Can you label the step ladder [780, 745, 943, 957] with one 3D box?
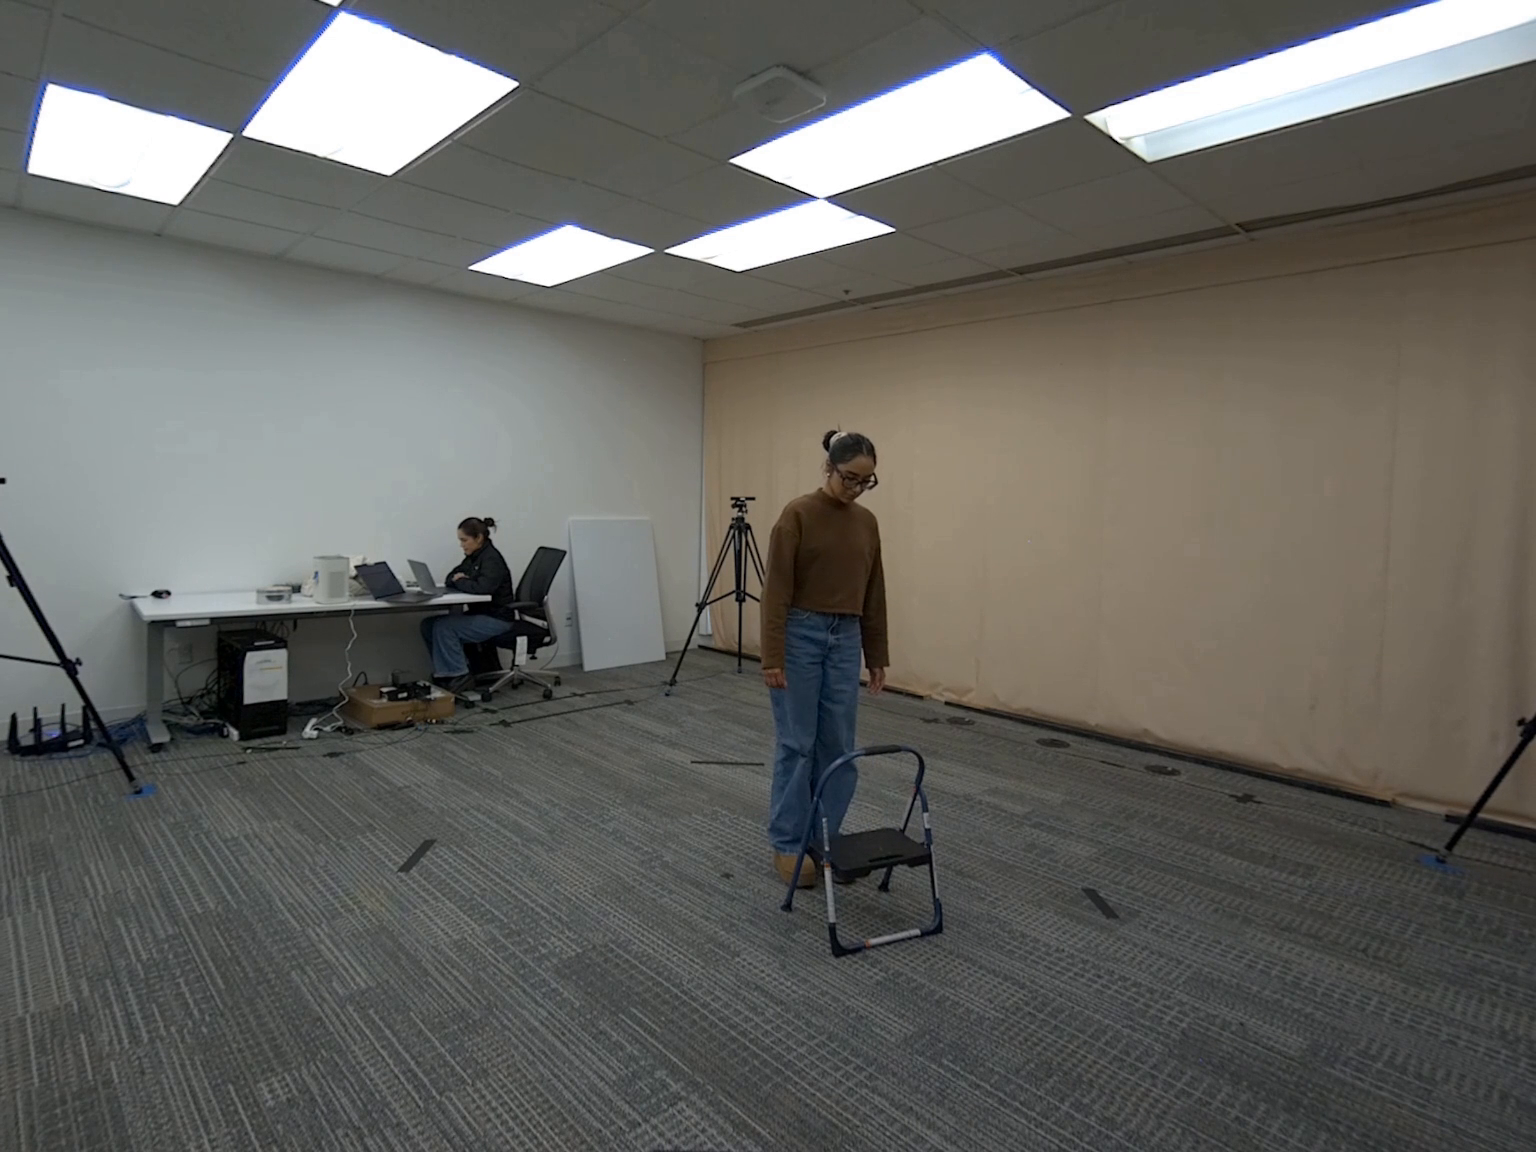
[{"bbox_3d":[0.312,0.844,2.783,0.422,0.605,0.356,0,3,-26],"label":"step ladder"}]
